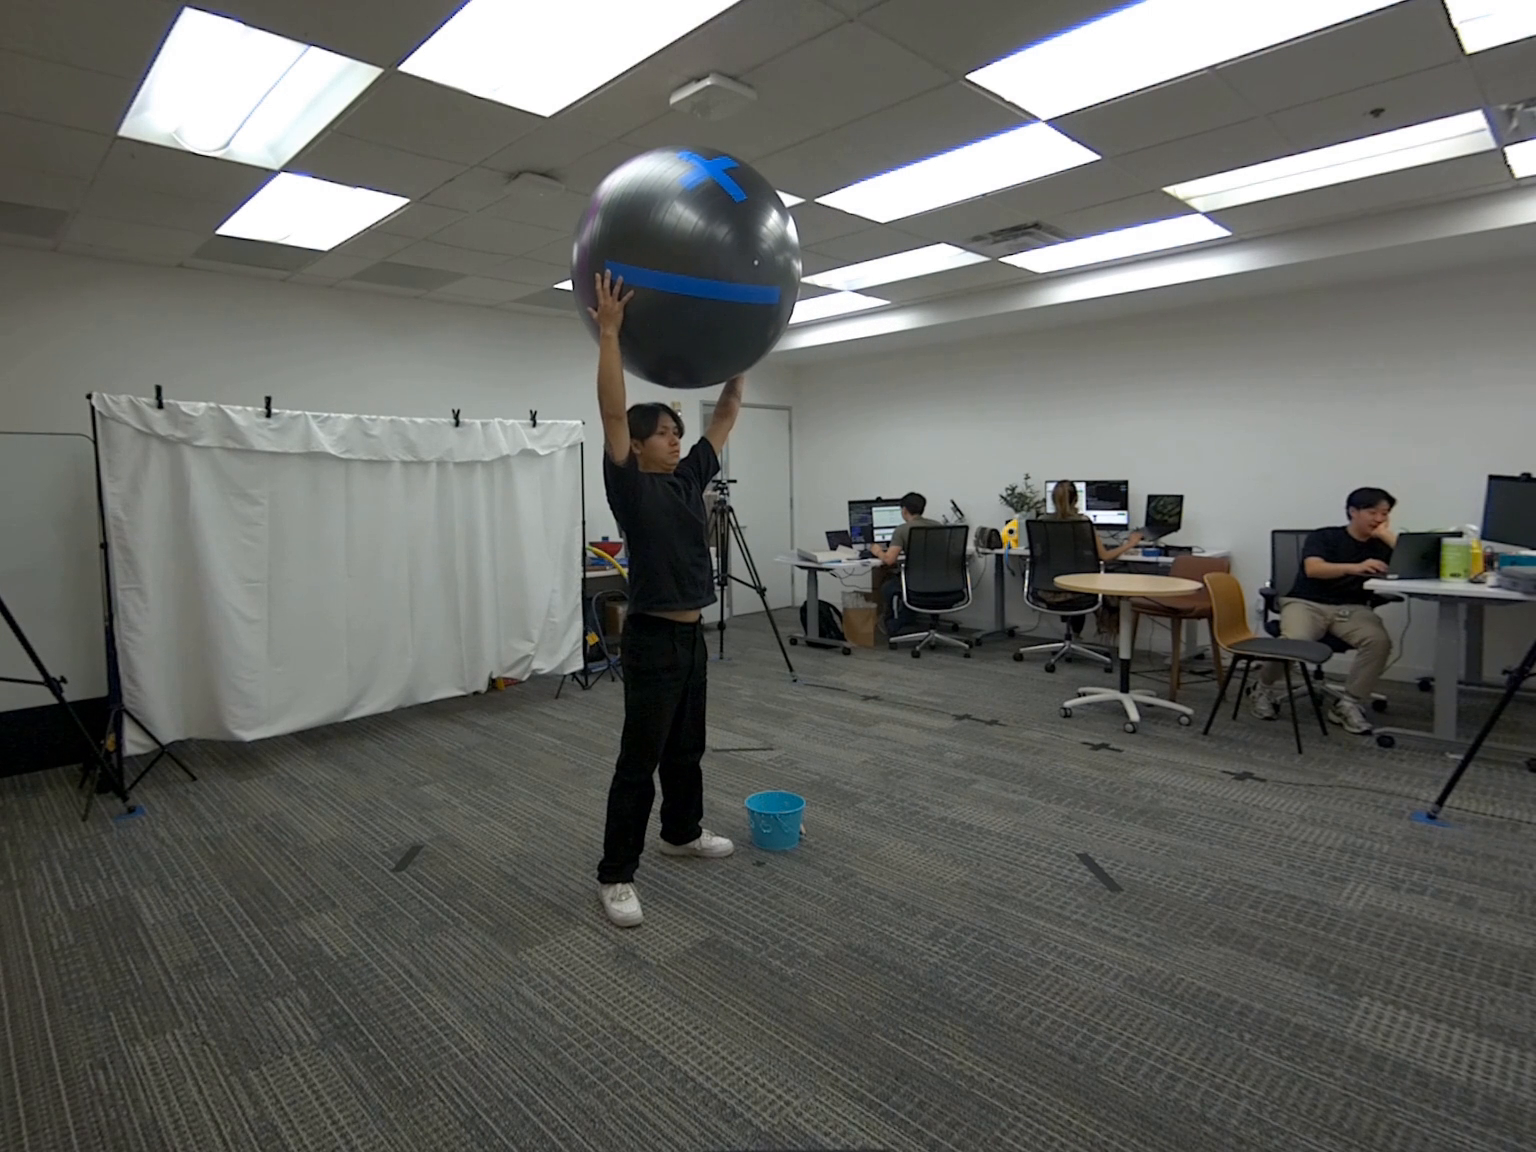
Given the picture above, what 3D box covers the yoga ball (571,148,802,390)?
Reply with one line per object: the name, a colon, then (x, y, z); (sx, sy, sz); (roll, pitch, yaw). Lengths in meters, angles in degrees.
yoga ball: (-0.268, -0.996, 2.814); (0.757, 0.755, 0.762); (-1, 5, -2)
